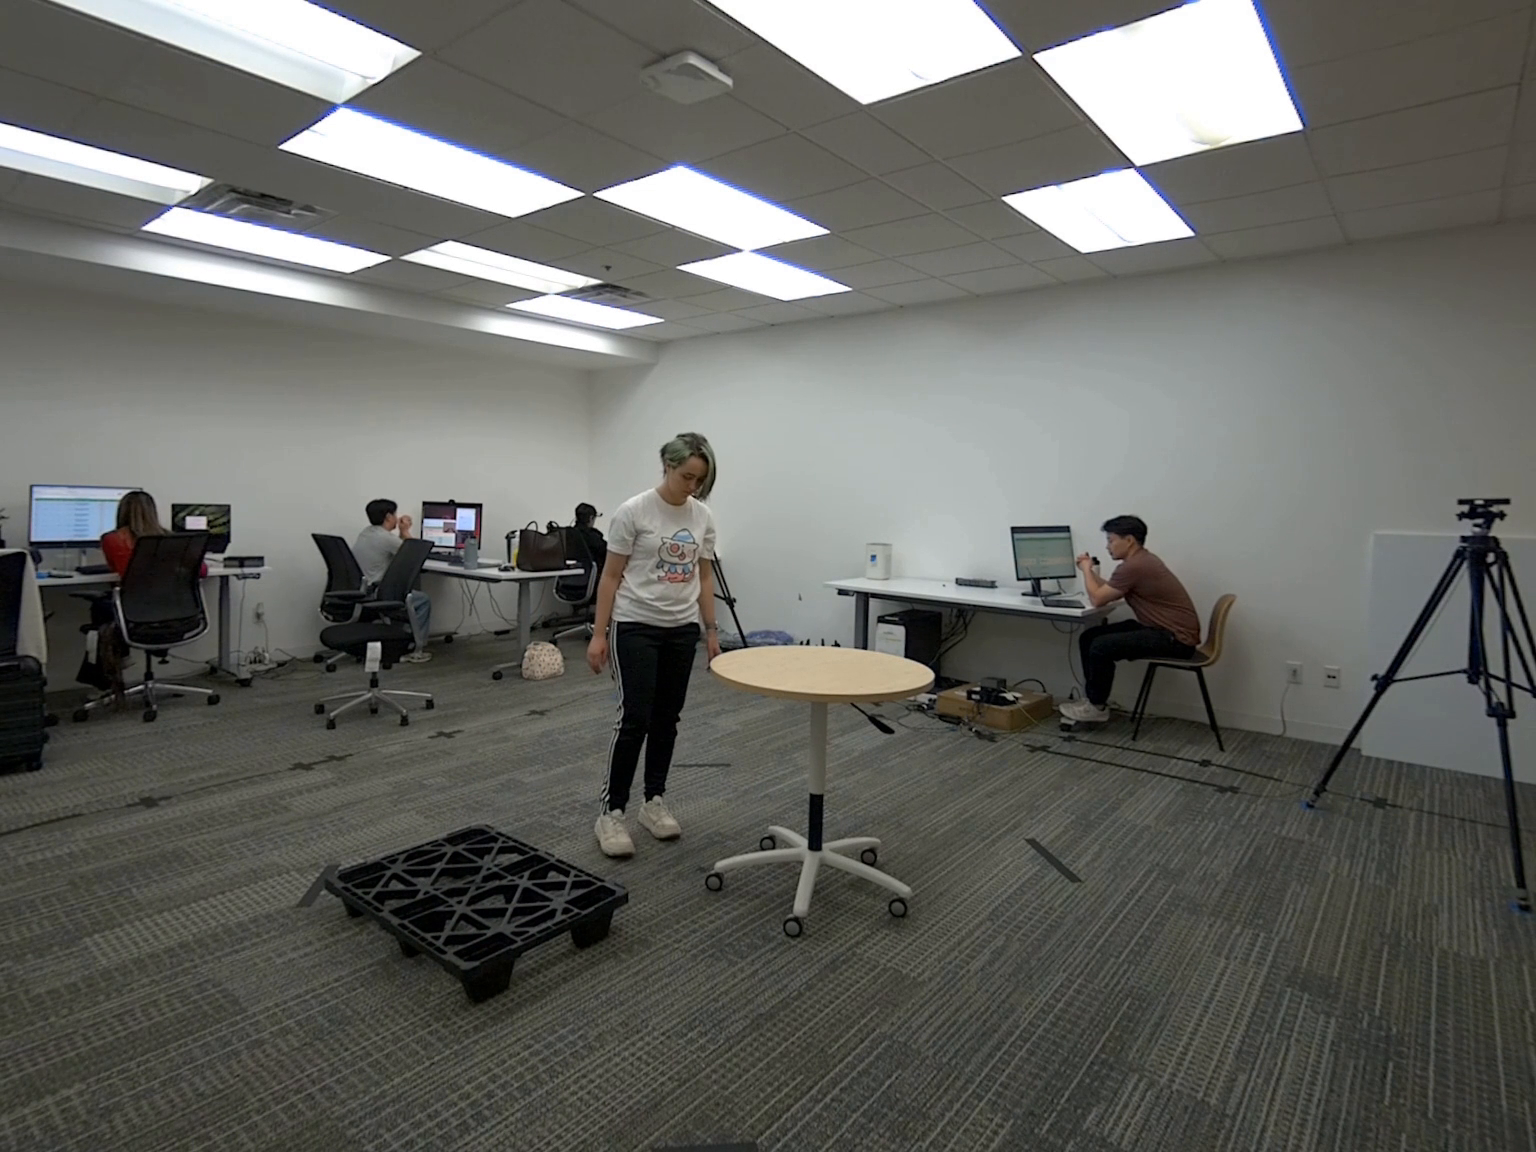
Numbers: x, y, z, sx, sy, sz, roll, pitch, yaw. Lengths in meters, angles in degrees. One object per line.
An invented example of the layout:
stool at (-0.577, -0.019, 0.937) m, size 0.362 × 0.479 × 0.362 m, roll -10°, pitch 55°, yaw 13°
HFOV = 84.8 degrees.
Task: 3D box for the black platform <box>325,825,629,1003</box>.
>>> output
black platform at (-0.934, 1.035, 2.681) m, size 0.832 × 0.143 × 0.588 m, roll 5°, pitch 8°, yaw 39°
